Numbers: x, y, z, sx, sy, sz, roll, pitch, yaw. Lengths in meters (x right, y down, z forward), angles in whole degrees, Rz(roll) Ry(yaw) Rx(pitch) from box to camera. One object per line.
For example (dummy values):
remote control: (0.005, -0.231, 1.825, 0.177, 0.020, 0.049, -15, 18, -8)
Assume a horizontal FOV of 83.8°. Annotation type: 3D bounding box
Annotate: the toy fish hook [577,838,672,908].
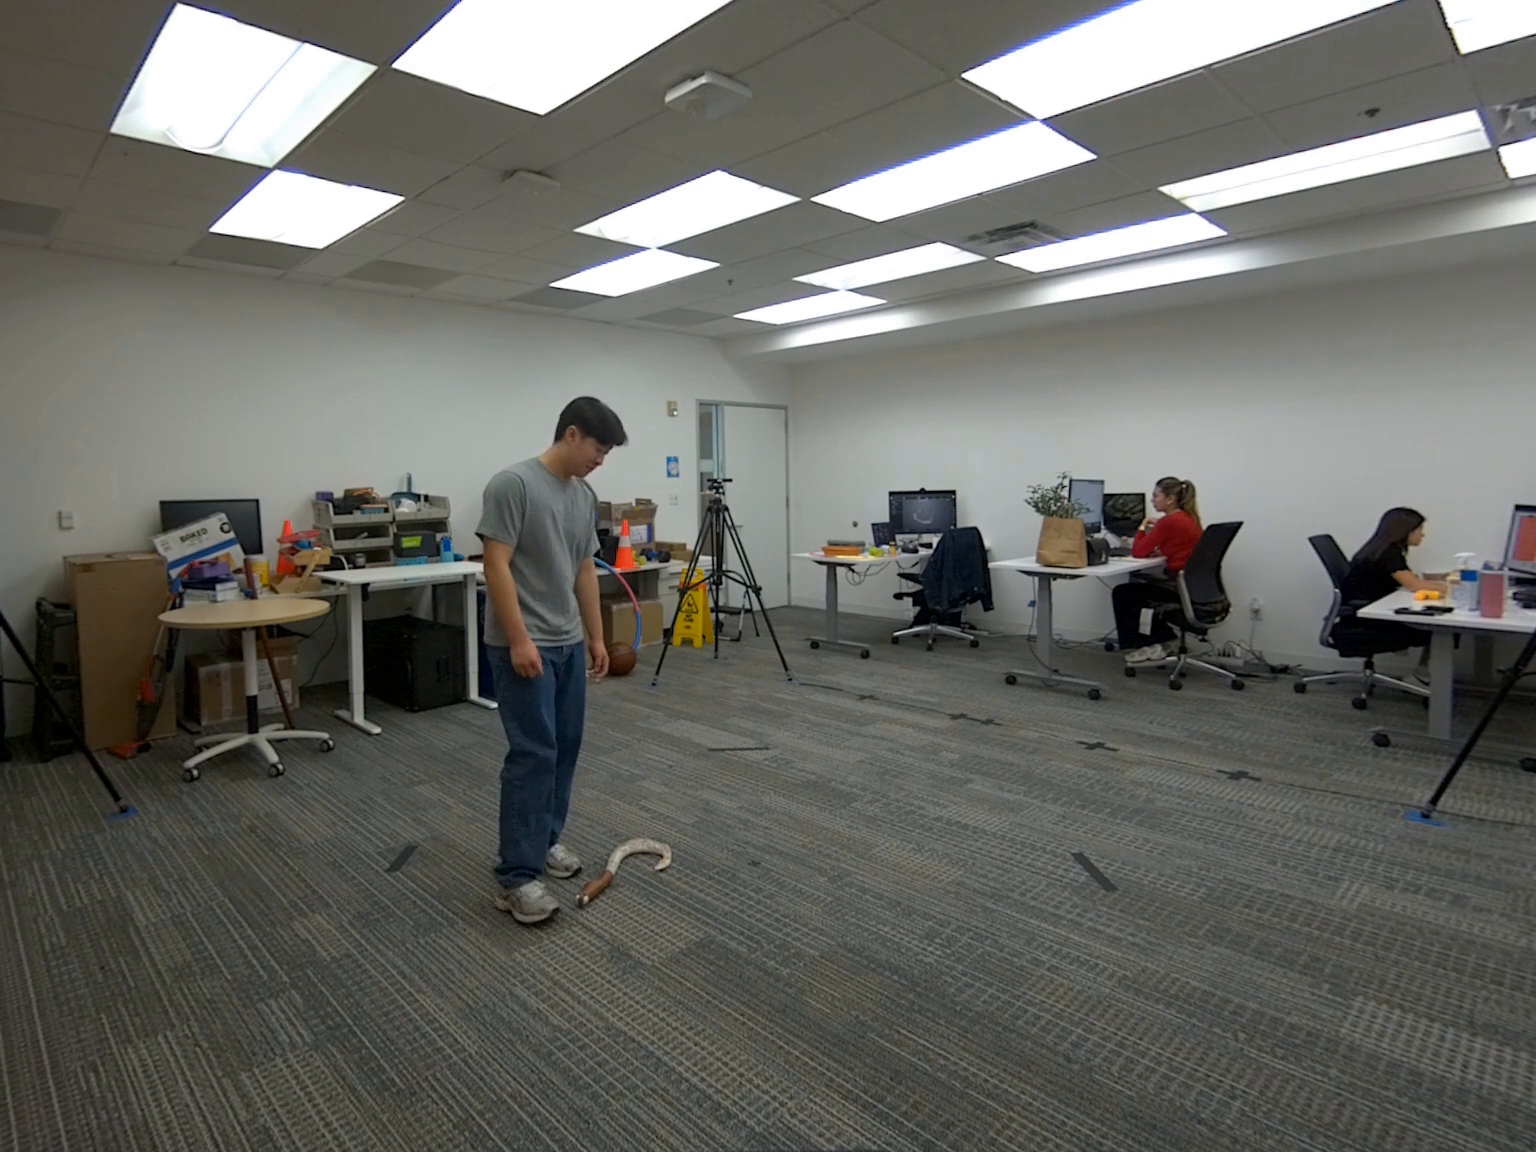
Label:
toy fish hook: (-0.493, 1.042, 3.008, 0.228, 0.048, 0.501, -1, 8, 17)
